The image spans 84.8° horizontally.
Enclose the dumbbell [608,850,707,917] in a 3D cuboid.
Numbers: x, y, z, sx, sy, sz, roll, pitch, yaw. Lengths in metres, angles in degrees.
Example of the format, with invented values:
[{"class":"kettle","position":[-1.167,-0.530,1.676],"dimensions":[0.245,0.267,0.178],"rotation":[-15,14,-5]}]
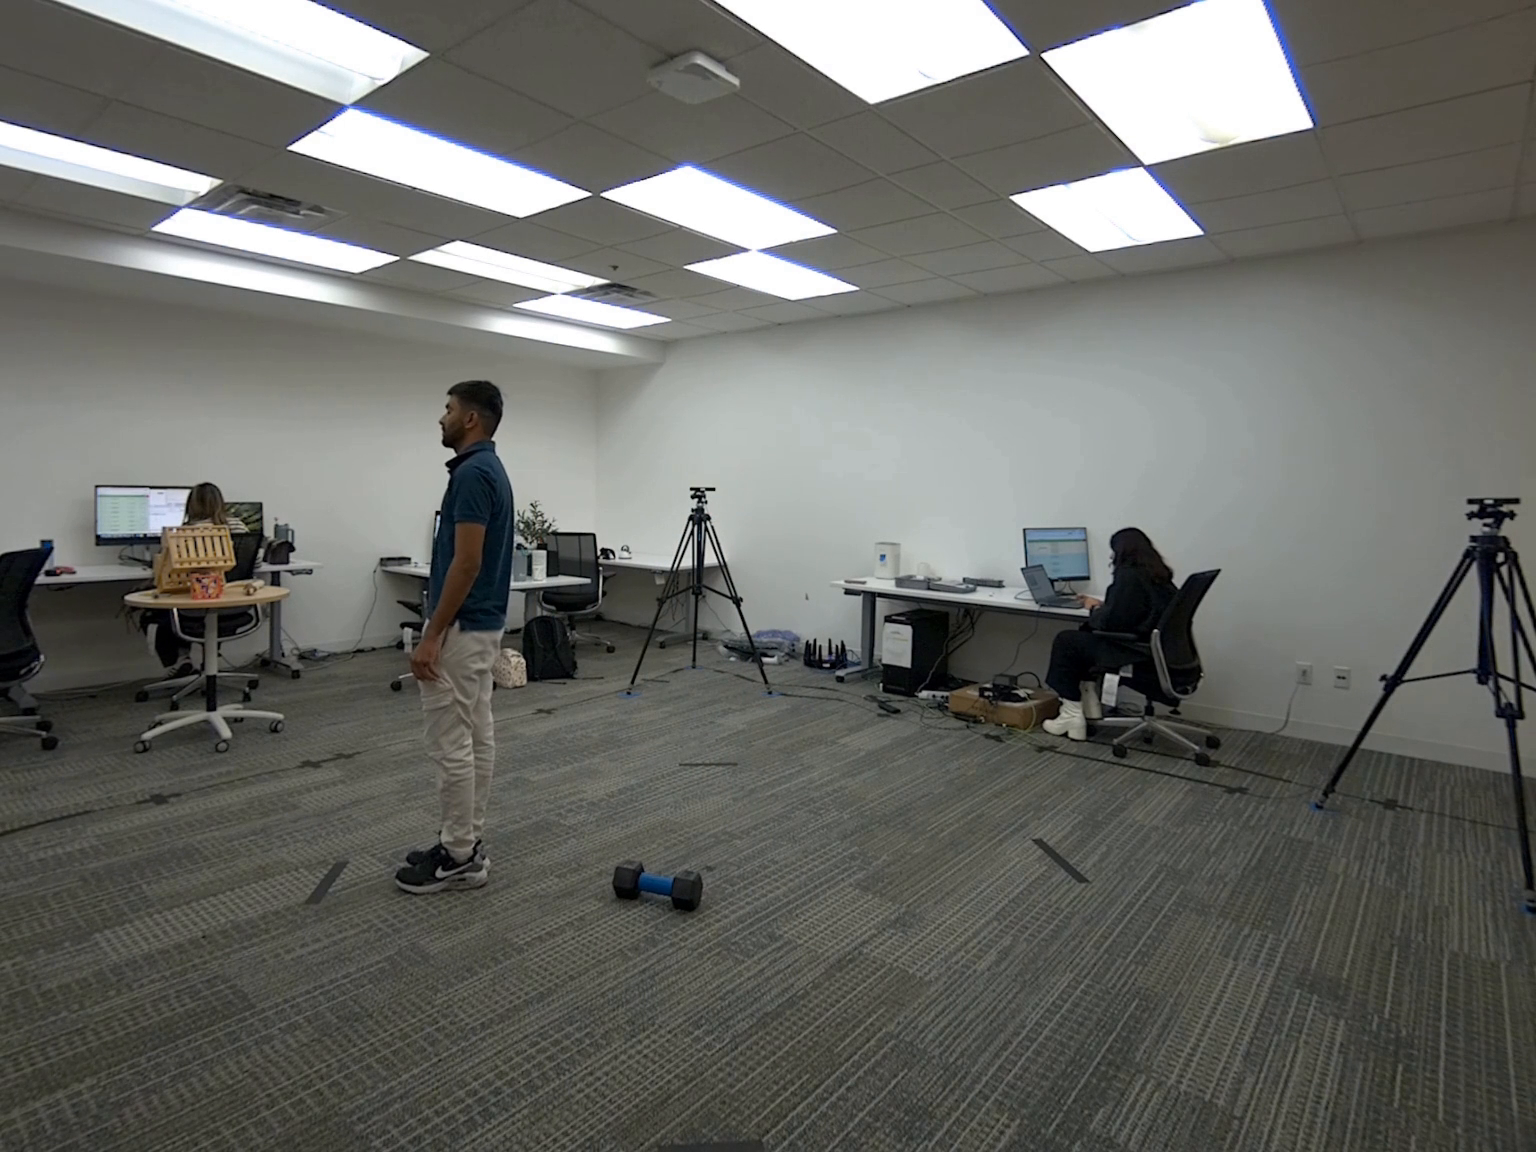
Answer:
[{"class":"dumbbell","position":[-0.374,1.035,2.841],"dimensions":[0.299,0.119,0.110],"rotation":[3,33,18]}]
